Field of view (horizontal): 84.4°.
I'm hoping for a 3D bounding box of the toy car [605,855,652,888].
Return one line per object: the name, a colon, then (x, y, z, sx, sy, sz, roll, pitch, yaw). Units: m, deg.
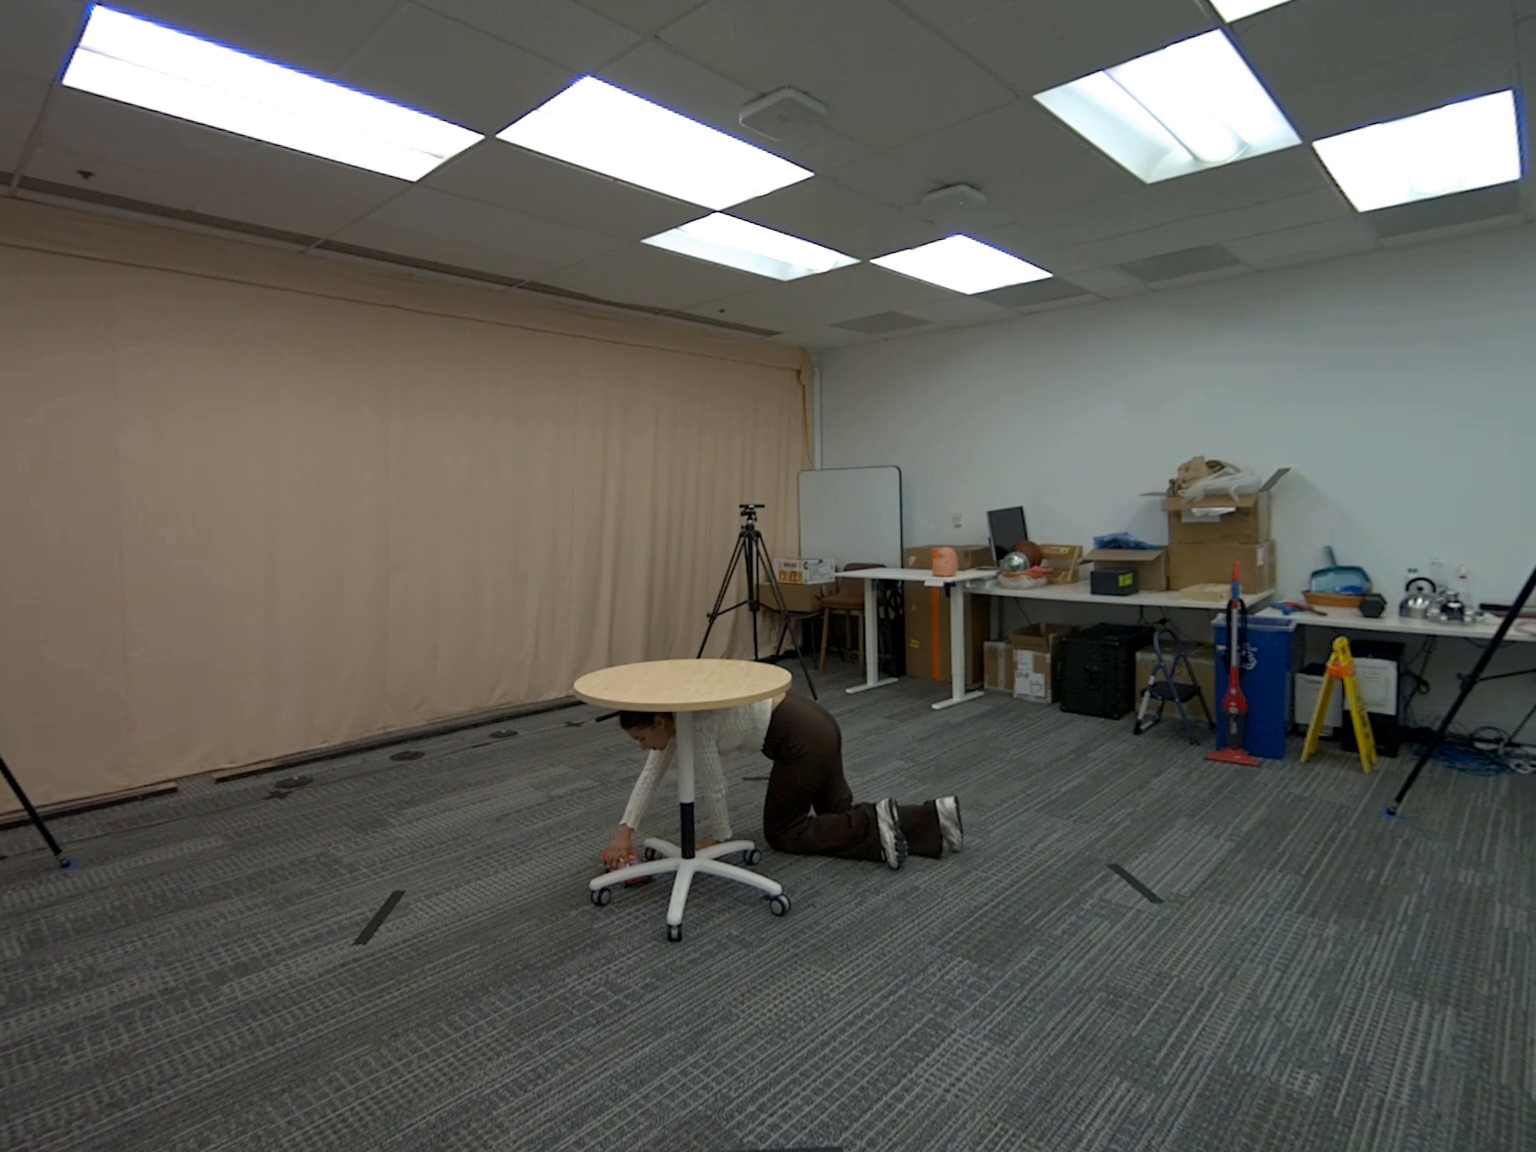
toy car: (-0.542, 1.106, 3.204, 0.127, 0.082, 0.263, -5, 16, -31)
